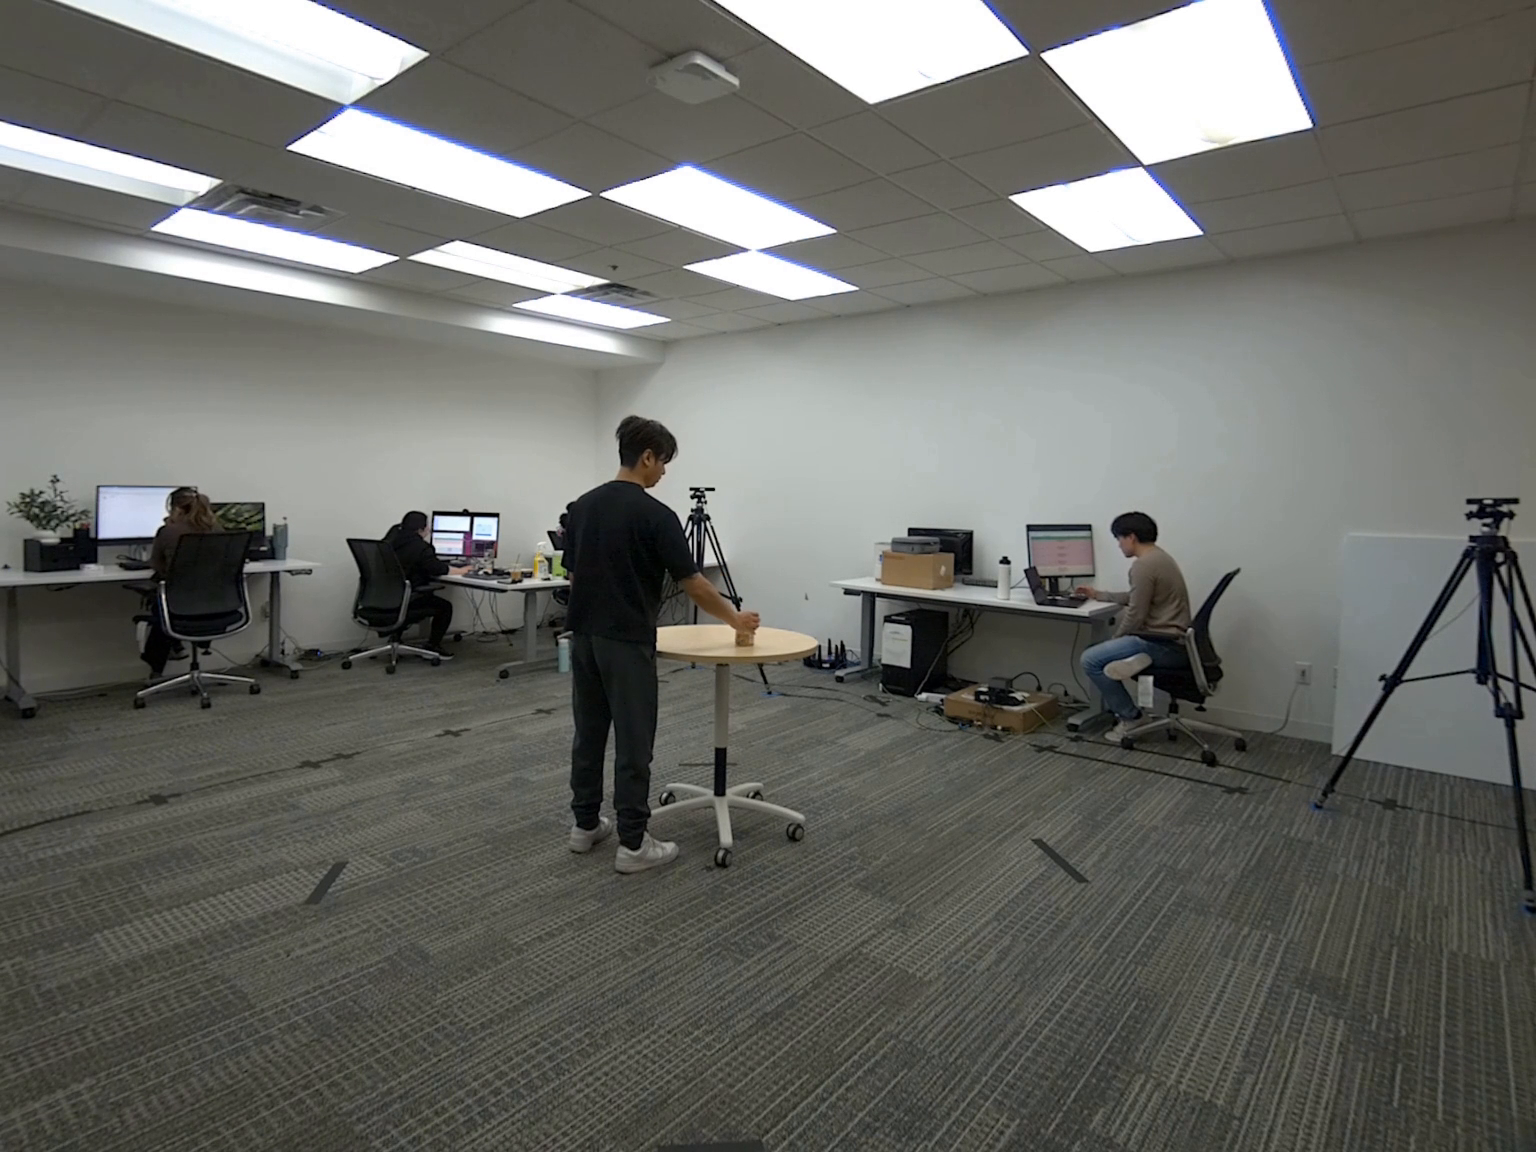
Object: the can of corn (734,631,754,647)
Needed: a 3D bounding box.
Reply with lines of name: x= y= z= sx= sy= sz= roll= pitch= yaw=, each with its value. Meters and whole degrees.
can of corn: x=-0.100 y=0.210 z=3.317 sx=0.074 sy=0.110 sz=0.075 roll=2 pitch=11 yaw=-2
